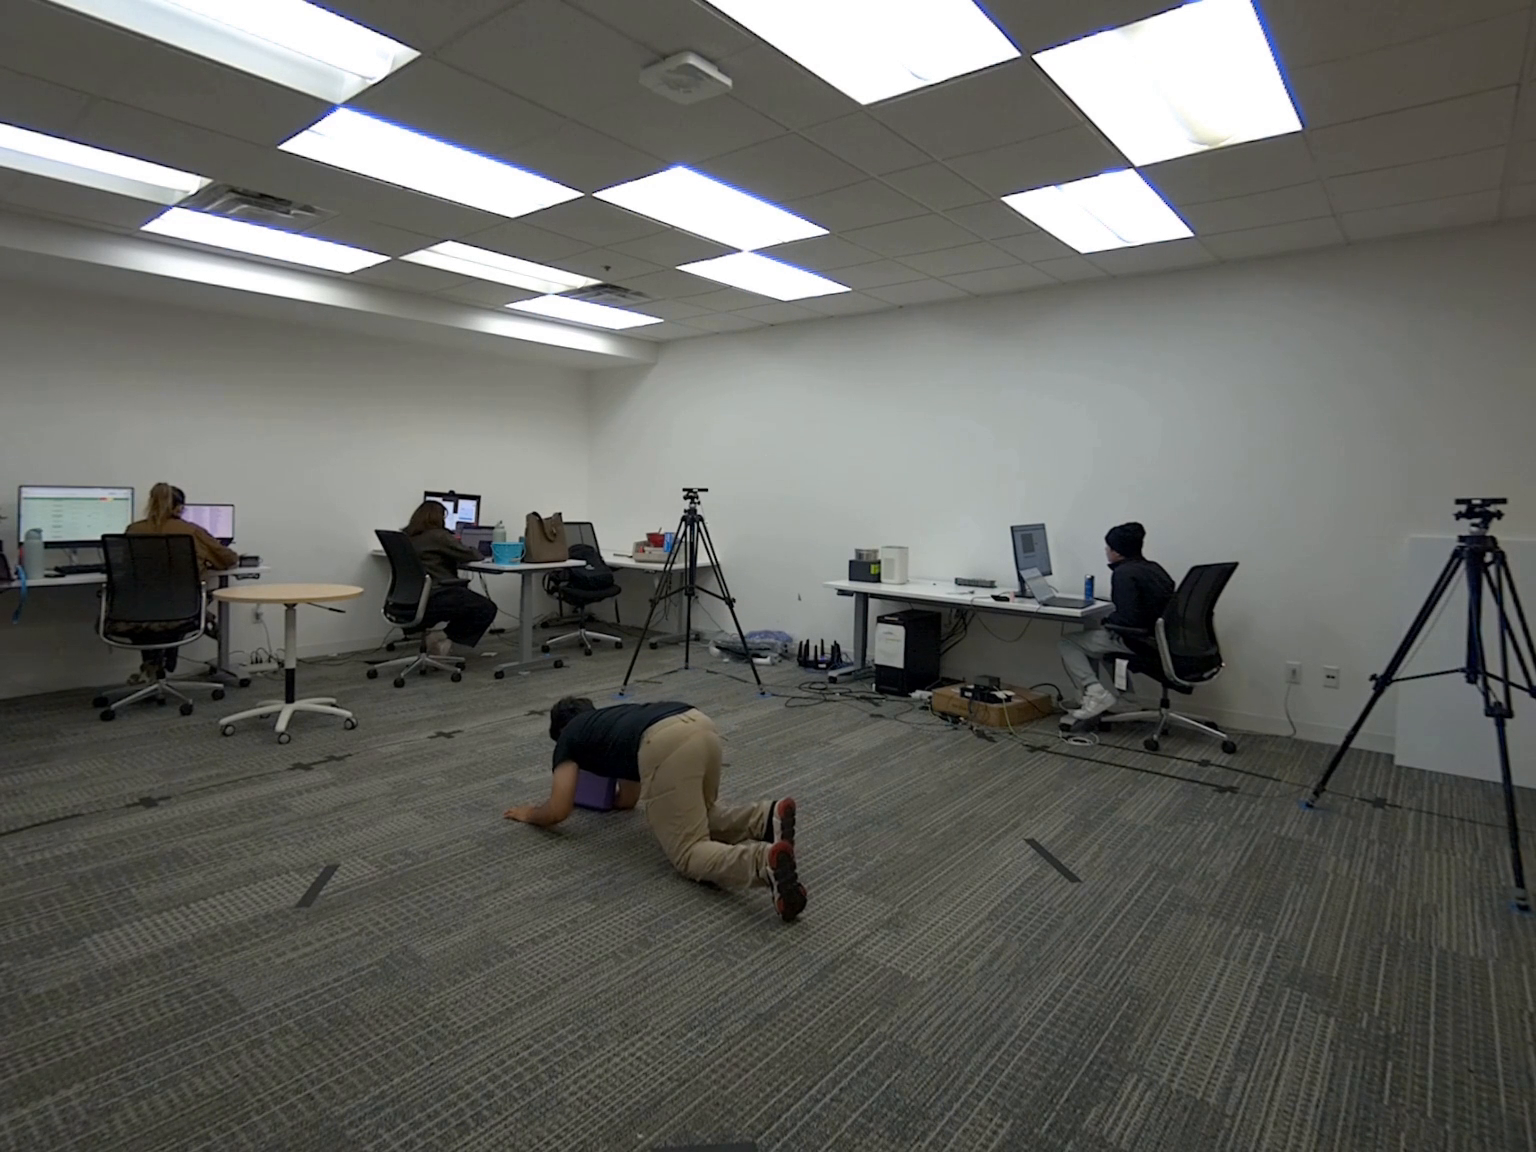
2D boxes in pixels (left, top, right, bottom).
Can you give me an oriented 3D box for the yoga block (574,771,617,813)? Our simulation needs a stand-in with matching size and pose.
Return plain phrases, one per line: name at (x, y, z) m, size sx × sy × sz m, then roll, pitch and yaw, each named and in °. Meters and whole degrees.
yoga block at (-0.790, 0.922, 3.725) m, size 0.236 × 0.150 × 0.074 m, roll 4°, pitch -8°, yaw 27°
